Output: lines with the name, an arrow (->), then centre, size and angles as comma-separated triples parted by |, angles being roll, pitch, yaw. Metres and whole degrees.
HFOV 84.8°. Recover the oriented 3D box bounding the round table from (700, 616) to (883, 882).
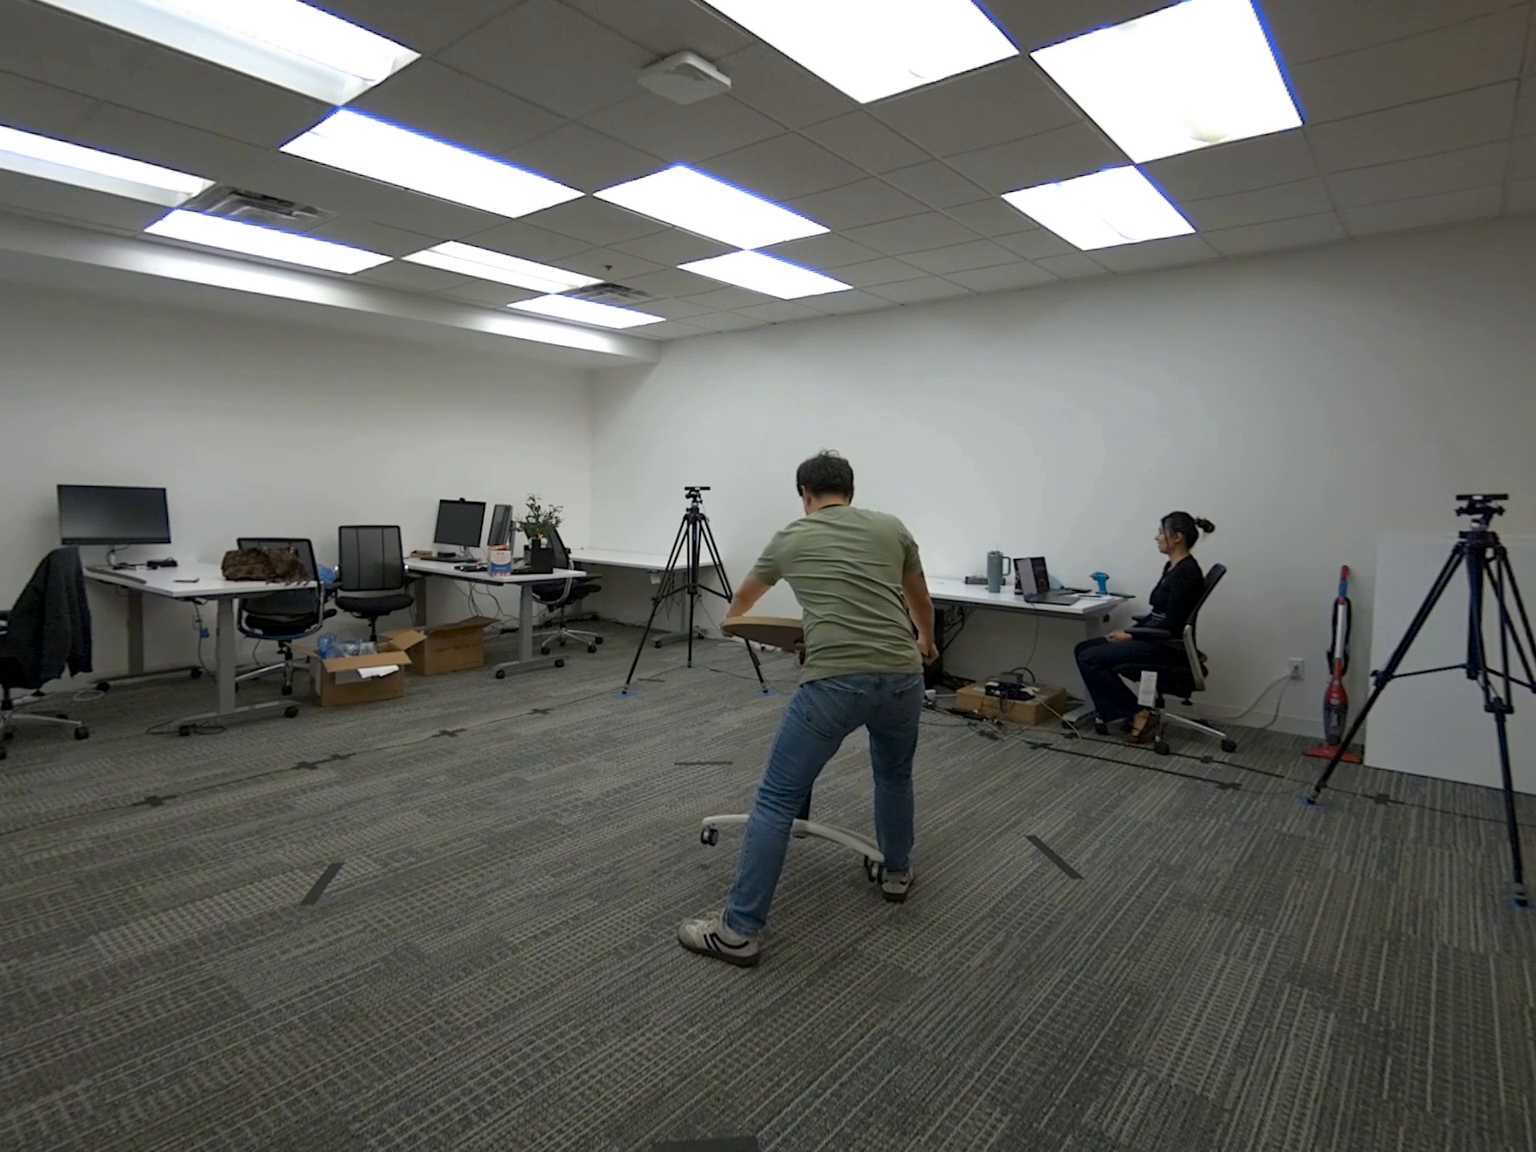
round table -> 0.136, 0.616, 3.089 | 0.765, 0.802, 0.755 | 8, -12, 0
